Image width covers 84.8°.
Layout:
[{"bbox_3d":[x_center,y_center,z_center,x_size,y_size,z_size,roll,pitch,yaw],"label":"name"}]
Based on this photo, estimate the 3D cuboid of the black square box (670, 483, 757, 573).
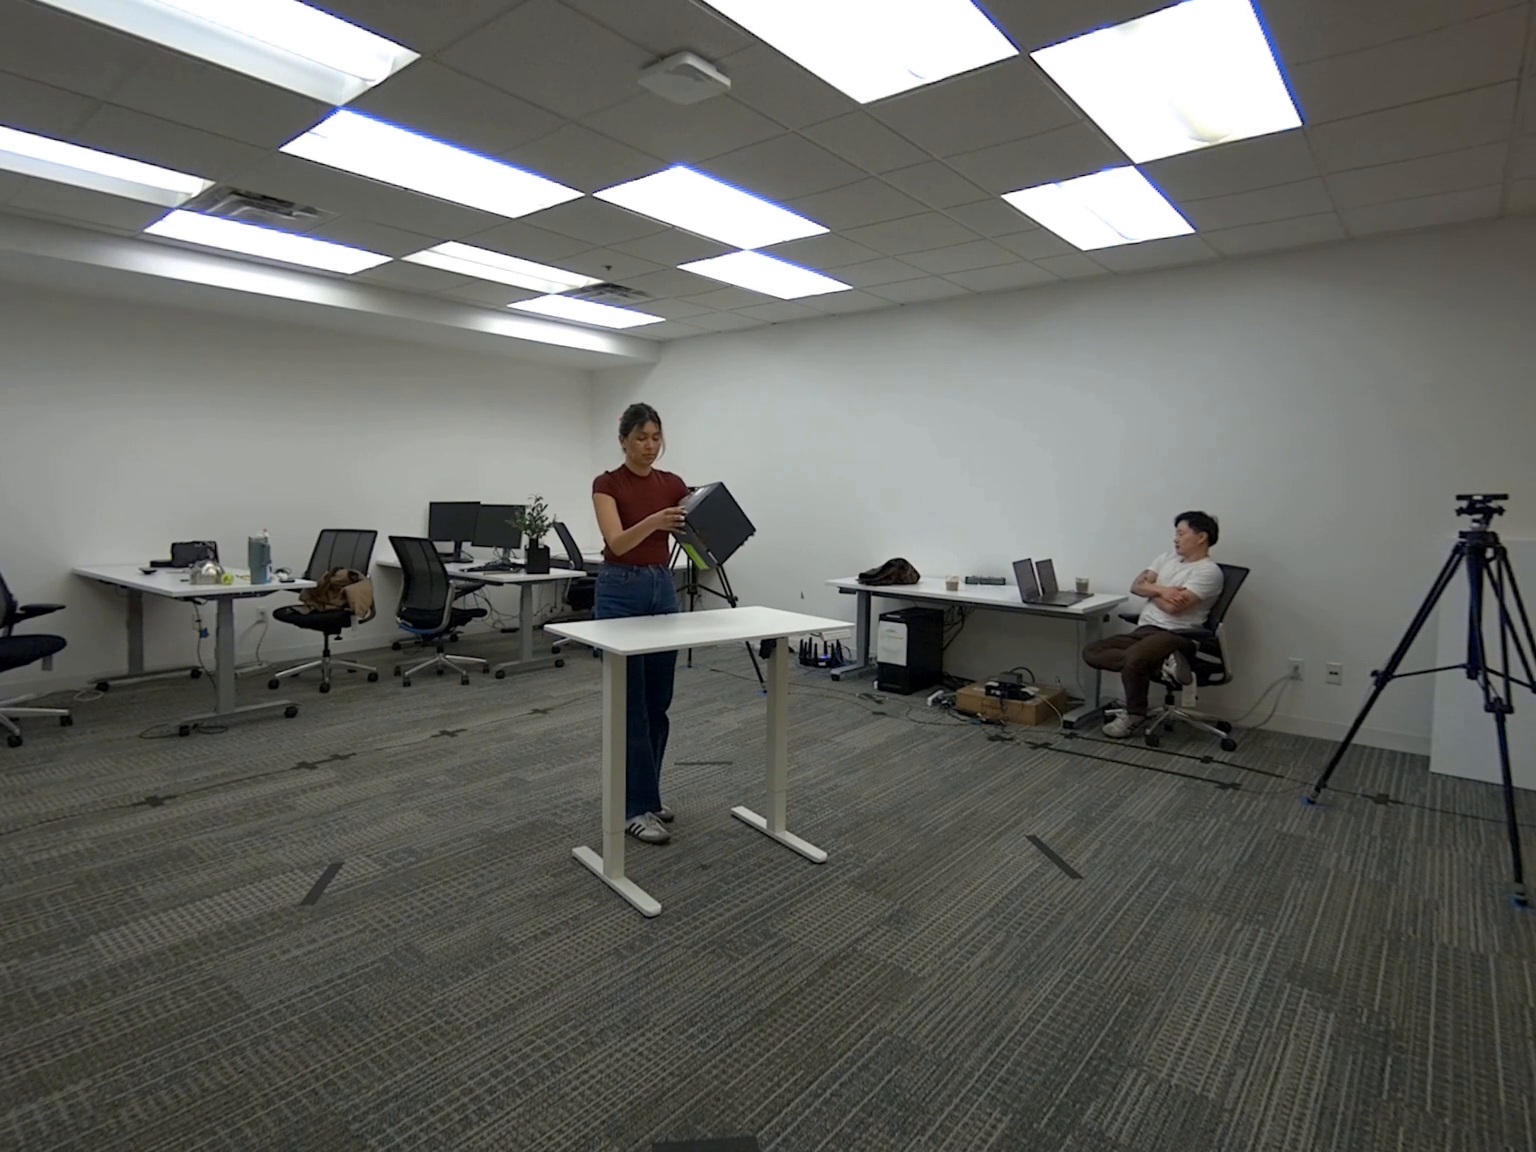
[{"bbox_3d":[-0.216,-0.176,3.067,0.216,0.222,0.160,-45,22,-30],"label":"black square box"}]
